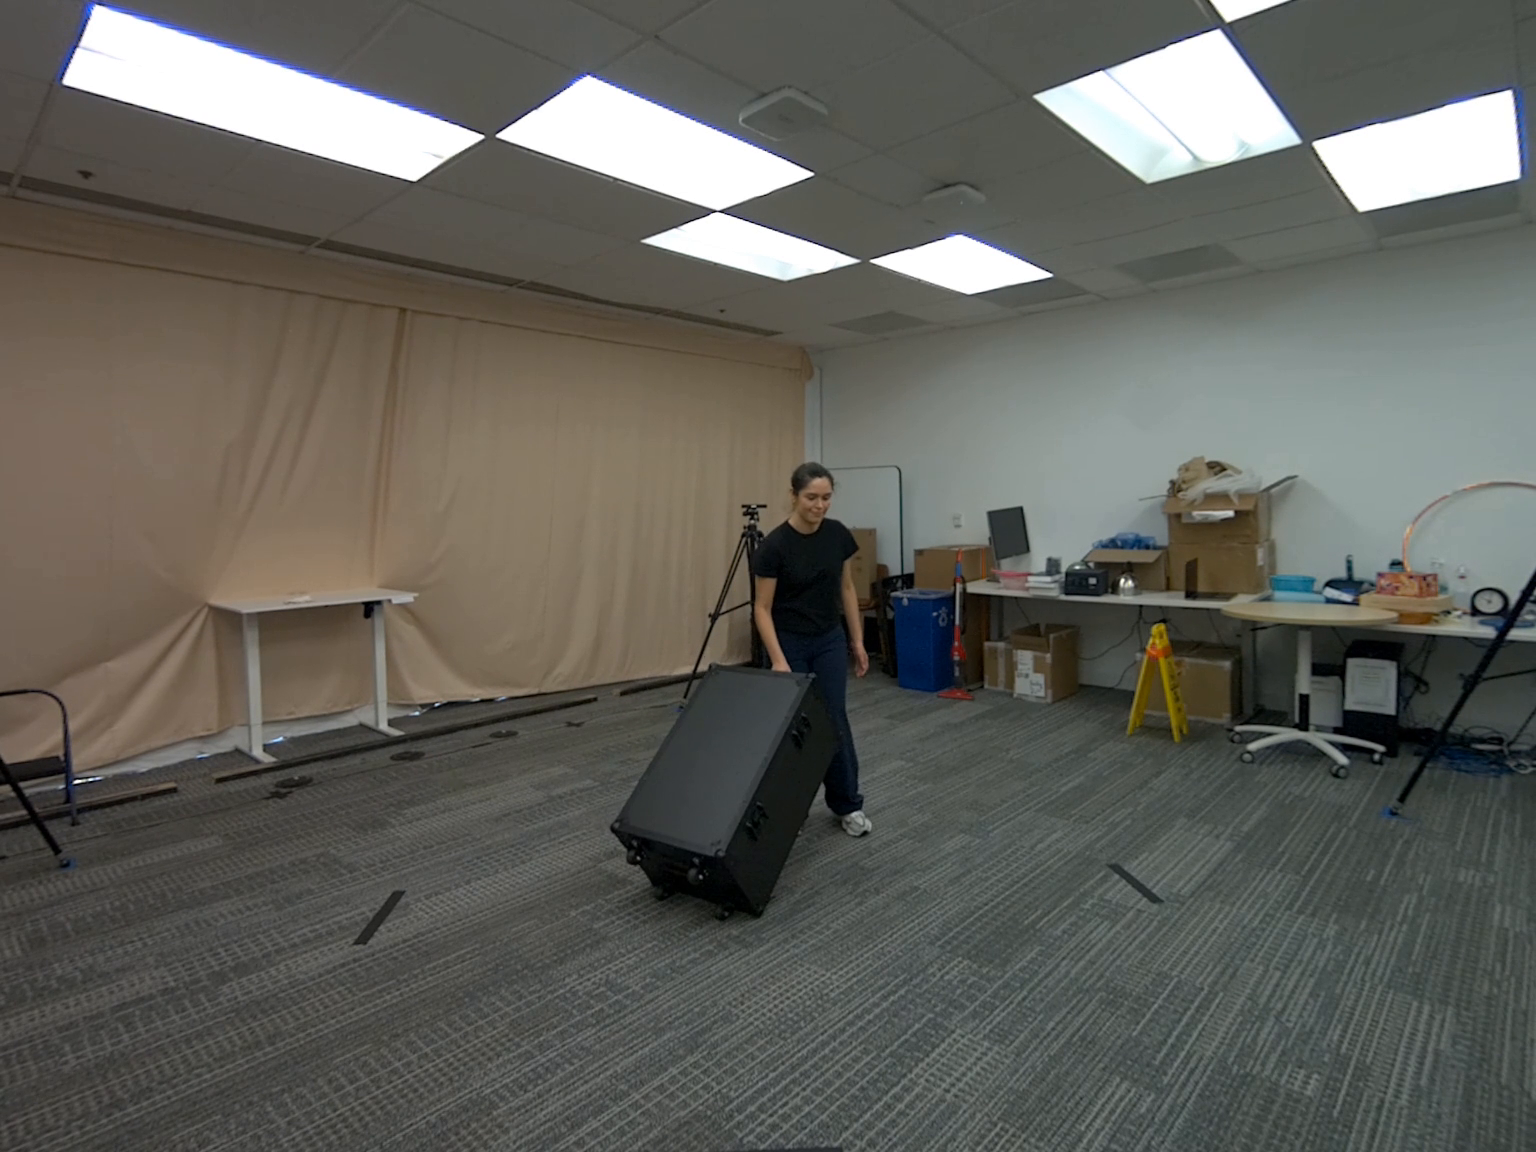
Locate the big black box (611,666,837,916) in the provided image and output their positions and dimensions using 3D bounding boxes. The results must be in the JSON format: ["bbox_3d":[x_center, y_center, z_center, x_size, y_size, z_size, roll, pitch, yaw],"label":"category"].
[{"bbox_3d":[-0.132,0.775,3.102,0.537,0.385,0.859,1,42,34],"label":"big black box"}]
